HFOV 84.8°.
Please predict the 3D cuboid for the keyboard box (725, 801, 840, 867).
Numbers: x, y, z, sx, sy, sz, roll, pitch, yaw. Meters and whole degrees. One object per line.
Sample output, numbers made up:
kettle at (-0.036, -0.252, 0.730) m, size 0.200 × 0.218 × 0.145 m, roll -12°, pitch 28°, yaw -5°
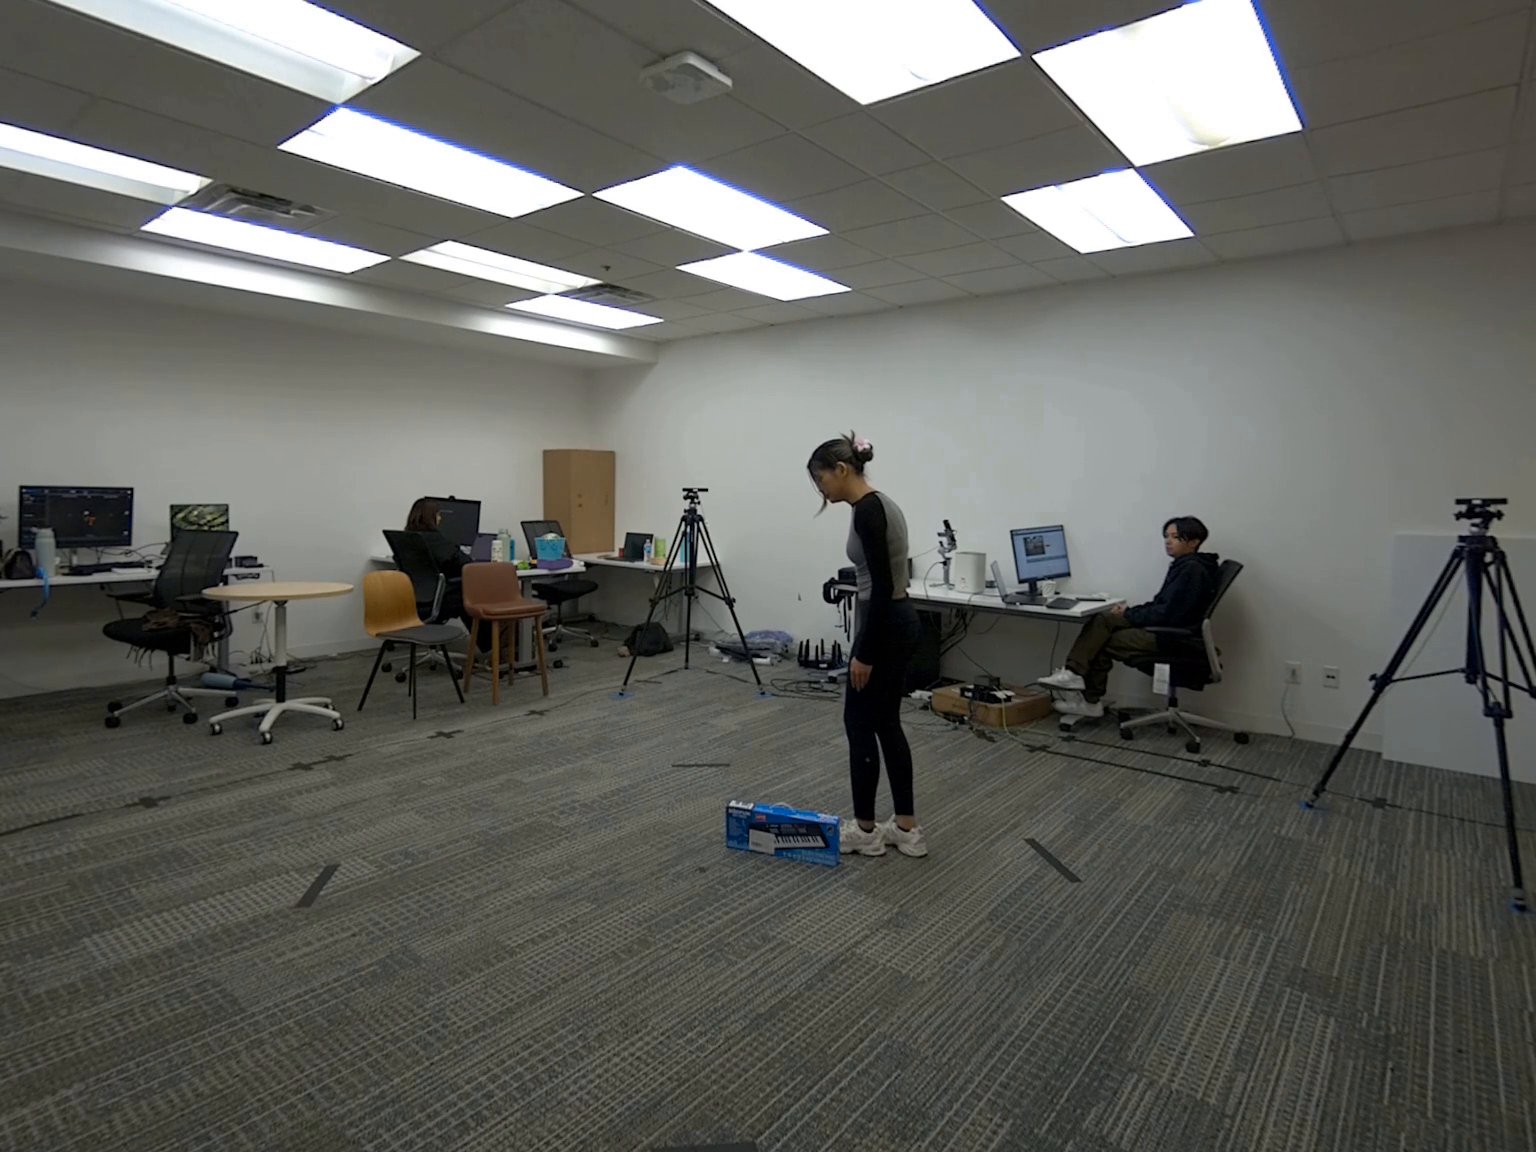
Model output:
keyboard box at (0.045, 0.971, 3.244) m, size 0.446 × 0.174 × 0.058 m, roll 4°, pitch 10°, yaw 20°
